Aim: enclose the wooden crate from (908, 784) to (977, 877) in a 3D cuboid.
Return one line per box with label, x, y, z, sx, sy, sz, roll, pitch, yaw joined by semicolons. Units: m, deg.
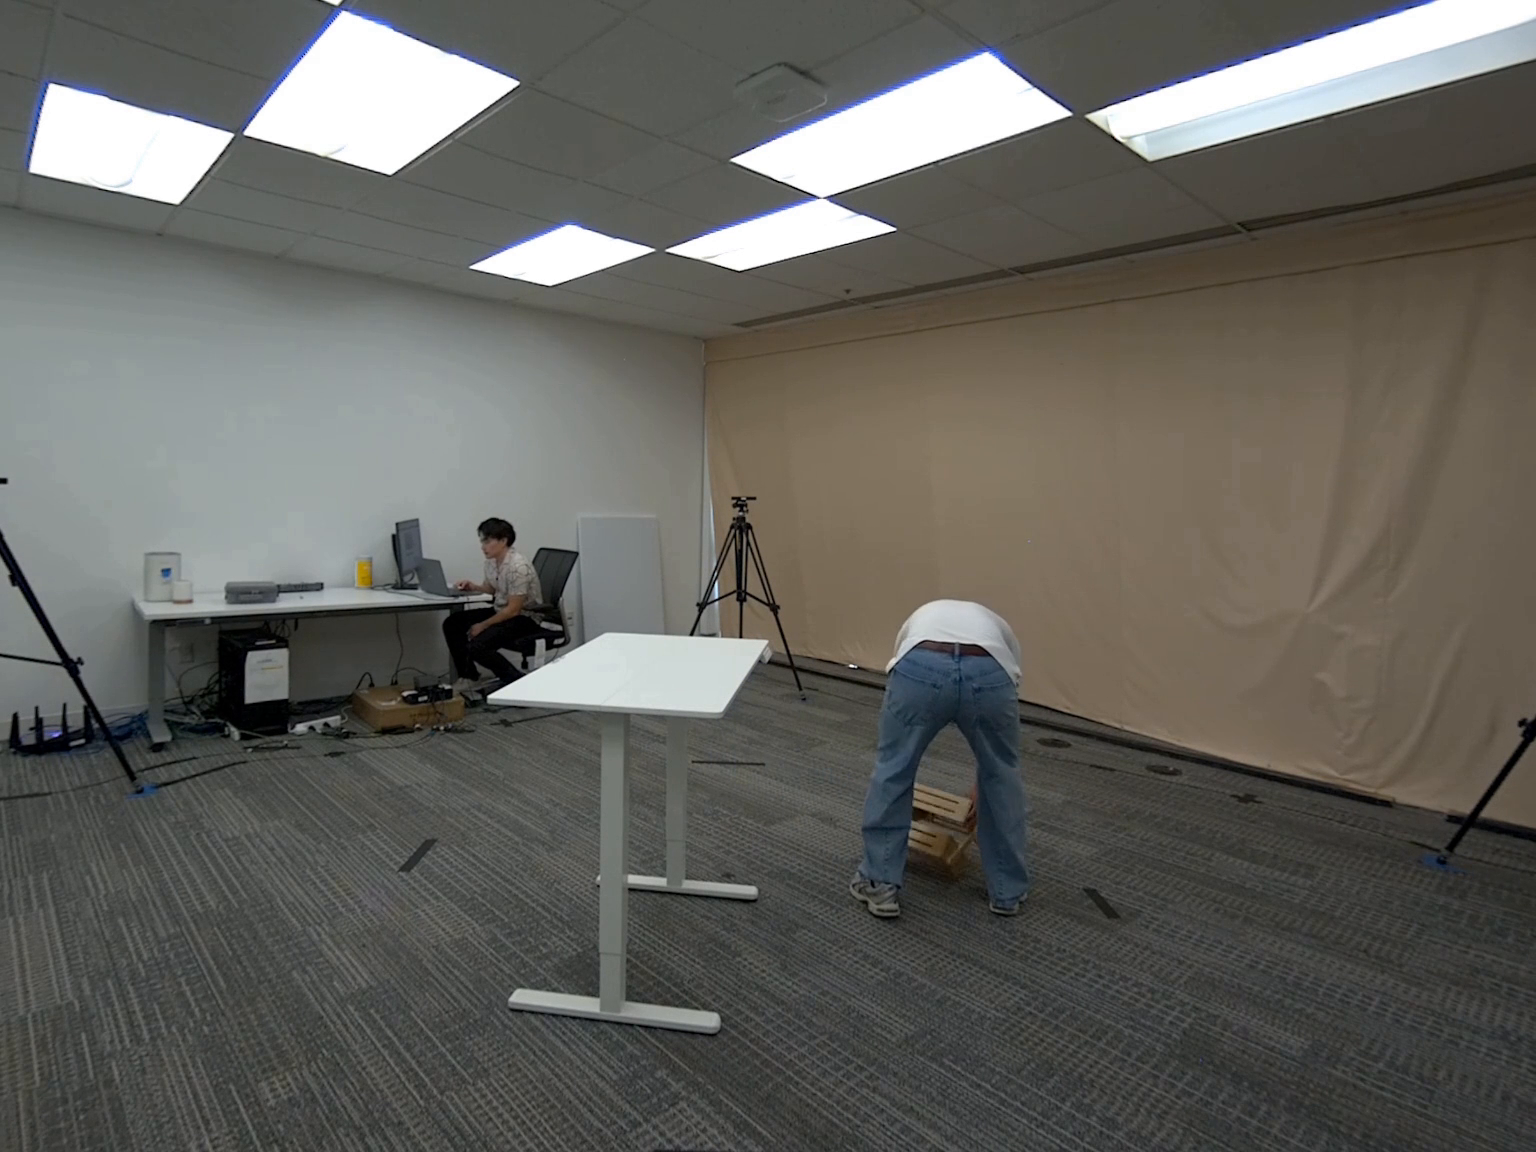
wooden crate;0.623;0.966;3.212;0.333;0.274;0.293;7;-38;43
